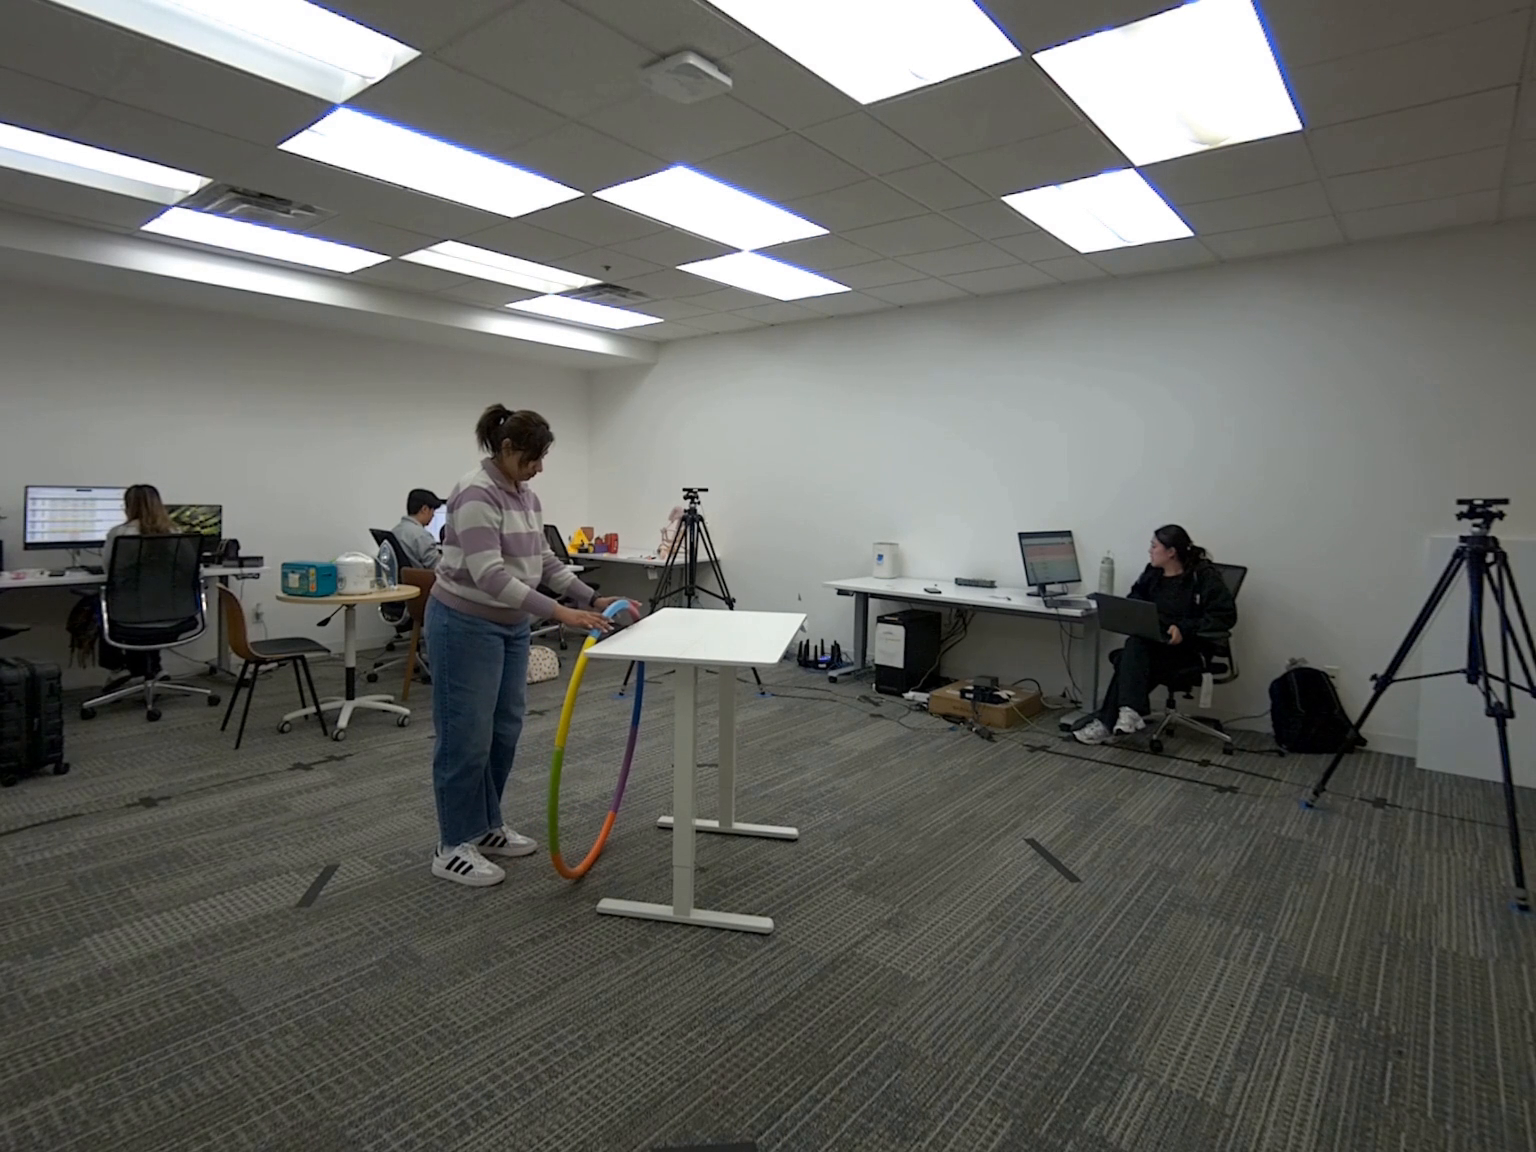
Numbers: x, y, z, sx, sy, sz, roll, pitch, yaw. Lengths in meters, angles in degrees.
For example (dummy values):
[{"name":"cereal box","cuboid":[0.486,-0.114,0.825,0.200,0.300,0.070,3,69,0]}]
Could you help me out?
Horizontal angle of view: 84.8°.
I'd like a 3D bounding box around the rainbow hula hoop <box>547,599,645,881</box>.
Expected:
[{"name":"rainbow hula hoop","cuboid":[-0.614,0.585,3.095,0.036,0.975,0.973,9,5,5]}]
